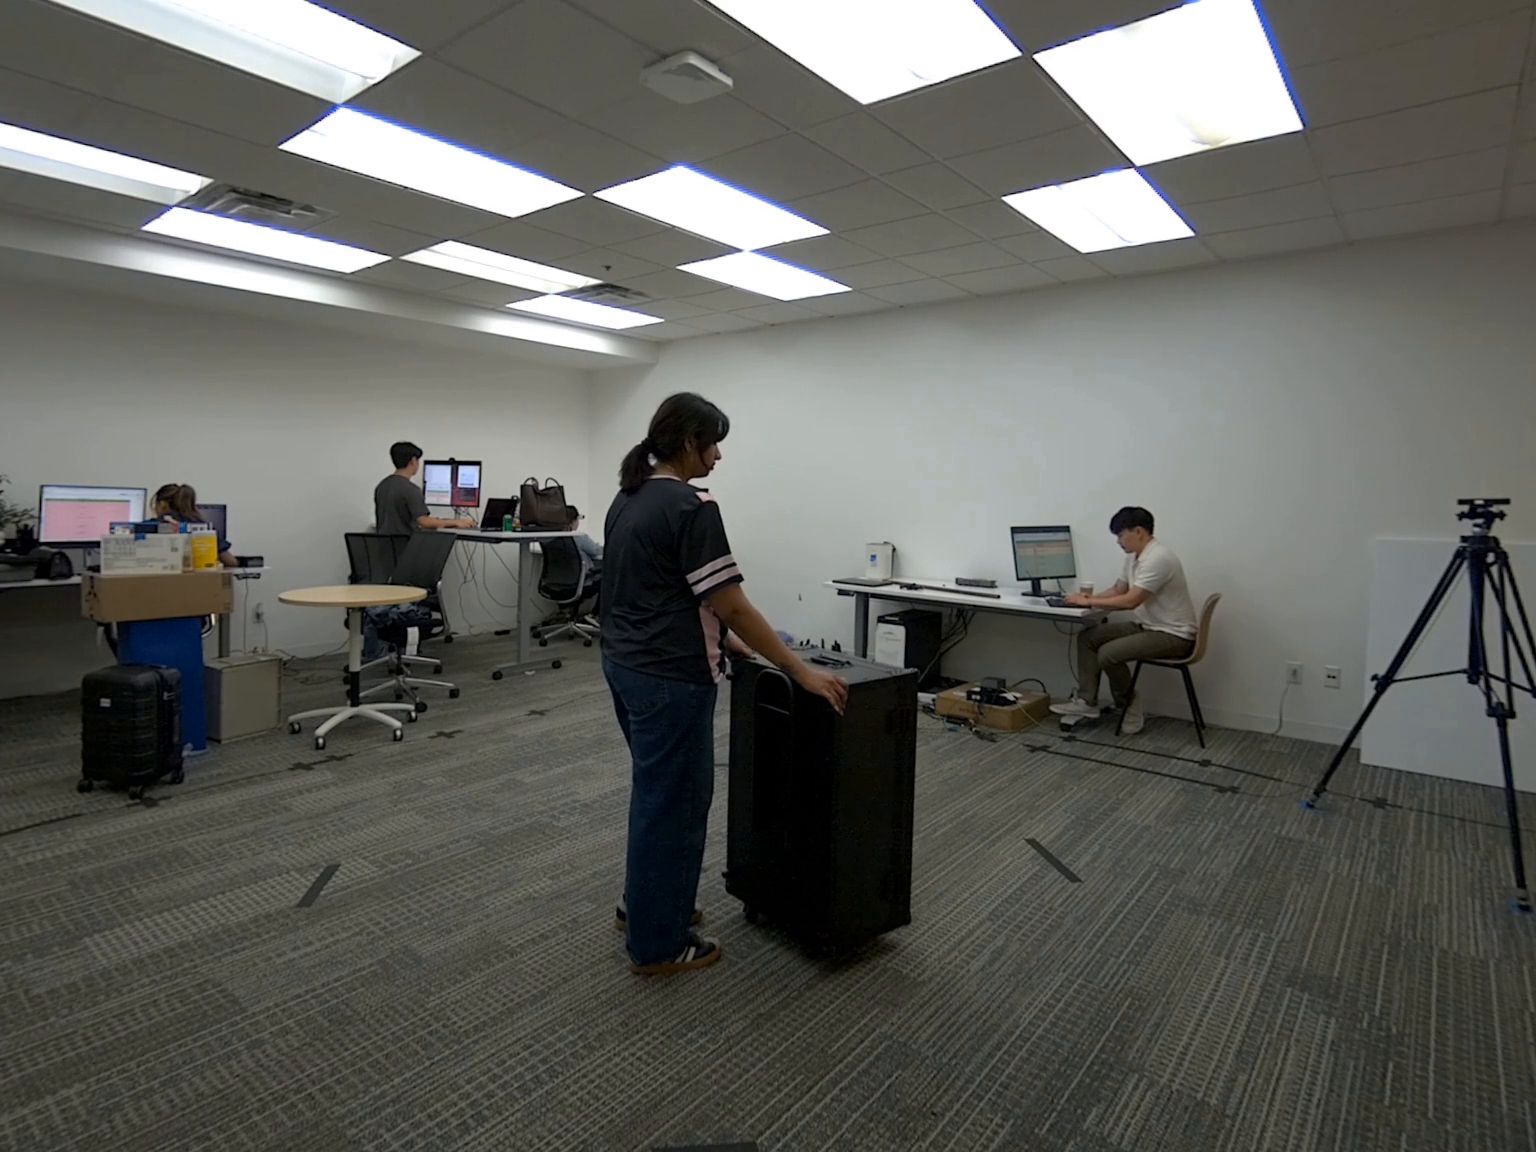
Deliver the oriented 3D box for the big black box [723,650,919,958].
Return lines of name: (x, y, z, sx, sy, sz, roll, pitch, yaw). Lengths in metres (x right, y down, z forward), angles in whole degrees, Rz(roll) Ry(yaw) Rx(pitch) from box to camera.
big black box: (0.155, 0.699, 2.669, 0.374, 0.866, 0.541, -2, 5, -39)
